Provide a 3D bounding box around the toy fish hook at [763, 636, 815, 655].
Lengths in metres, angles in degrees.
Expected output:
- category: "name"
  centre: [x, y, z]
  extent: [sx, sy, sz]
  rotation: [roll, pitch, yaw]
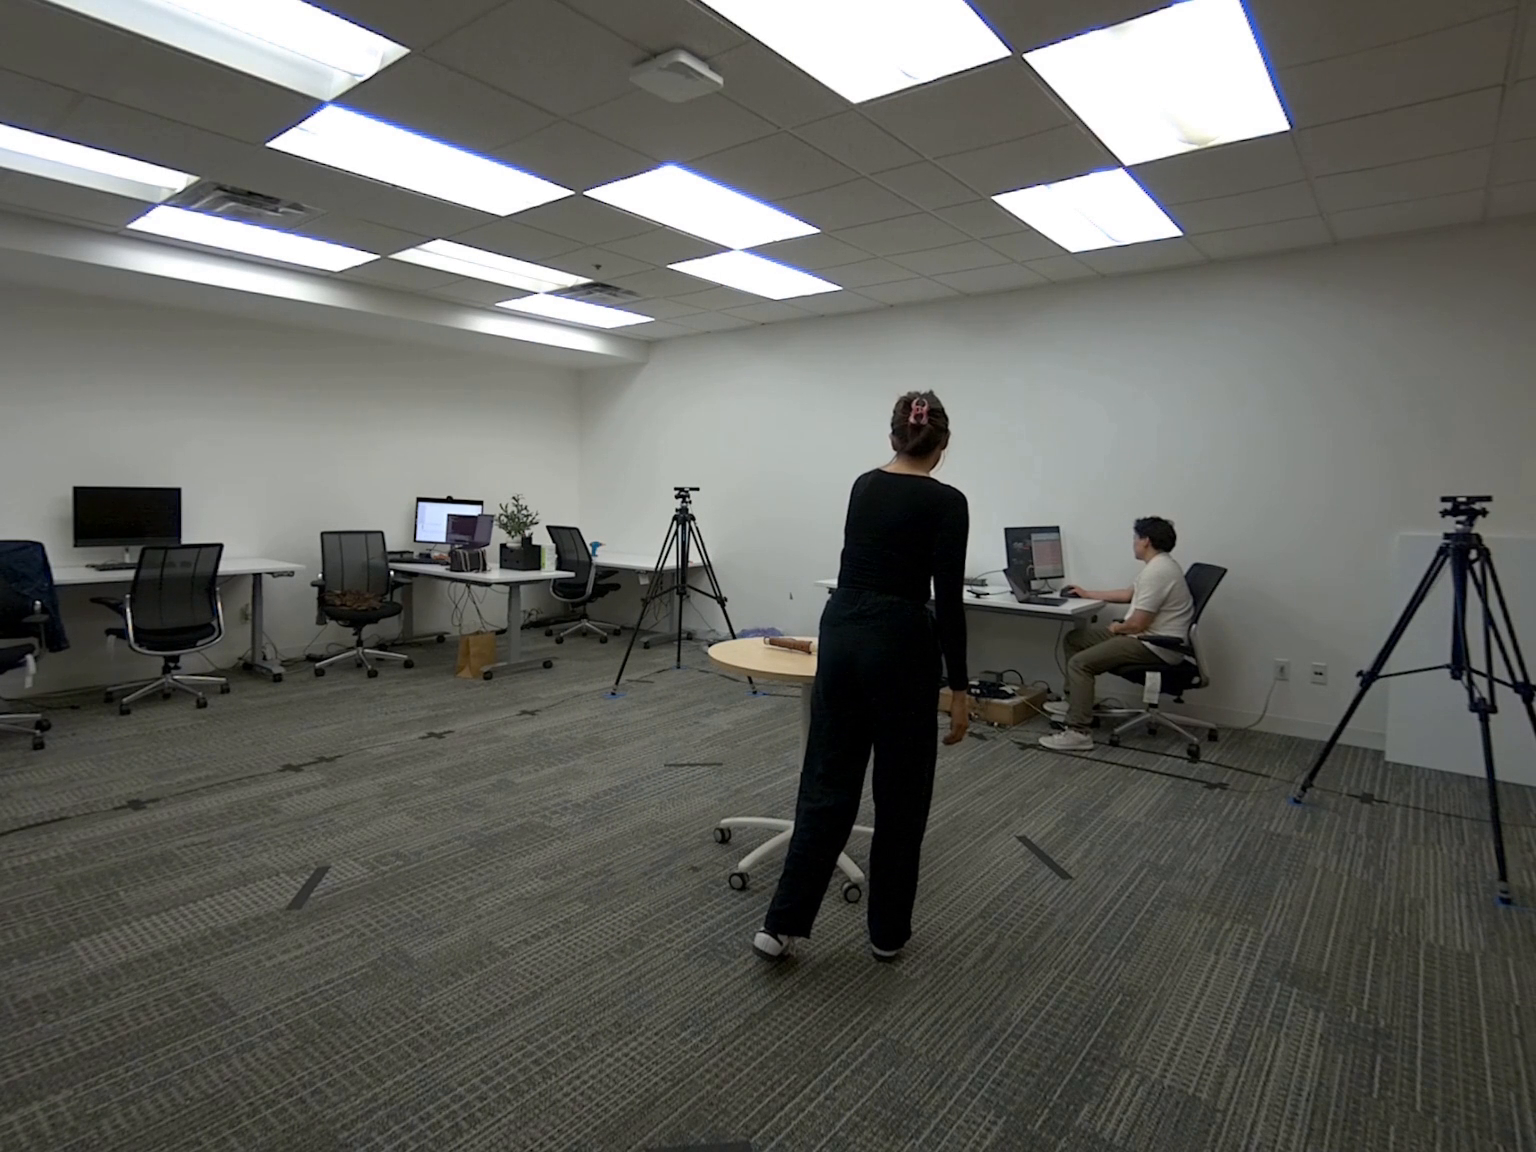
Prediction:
- category: "toy fish hook"
  centre: [0.174, 0.271, 3.079]
  extent: [0.522, 0.048, 0.219]
  rotation: [6, 7, 29]
